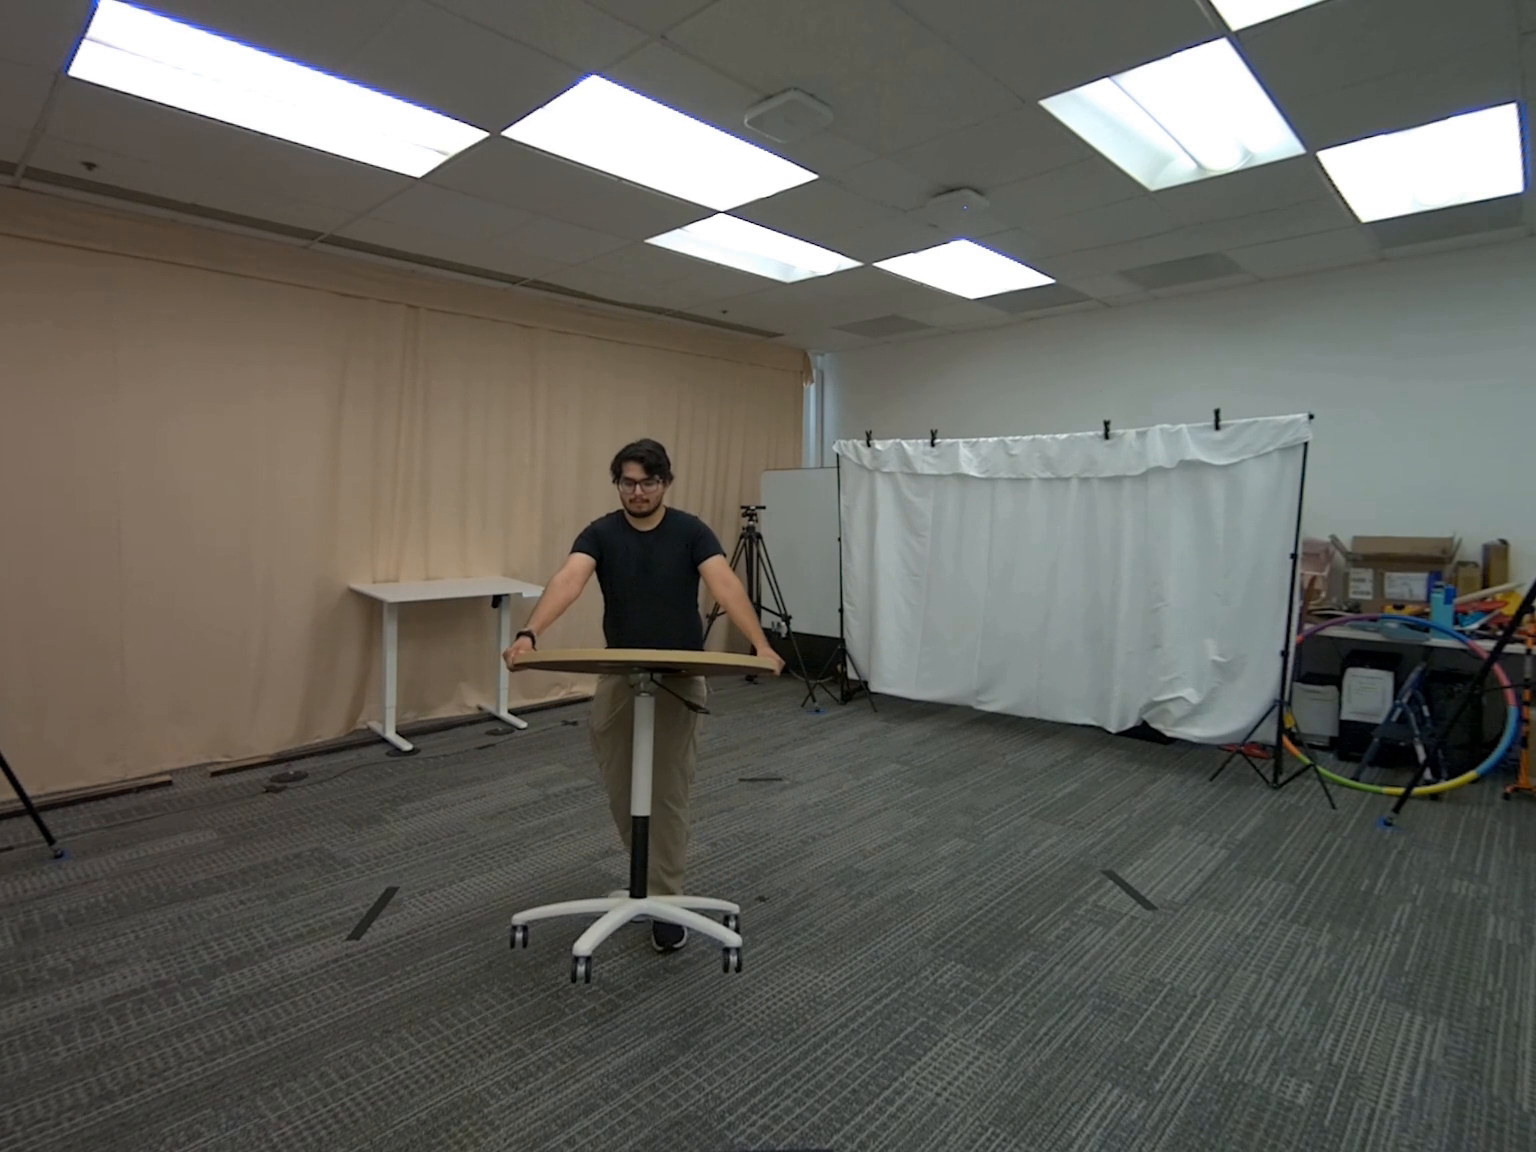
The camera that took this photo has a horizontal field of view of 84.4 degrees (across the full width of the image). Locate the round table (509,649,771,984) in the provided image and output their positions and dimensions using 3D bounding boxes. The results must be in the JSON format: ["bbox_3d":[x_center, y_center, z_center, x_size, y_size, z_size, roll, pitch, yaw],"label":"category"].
[{"bbox_3d":[-0.346,0.644,2.412,0.784,0.792,0.781,1,-10,-2],"label":"round table"}]
